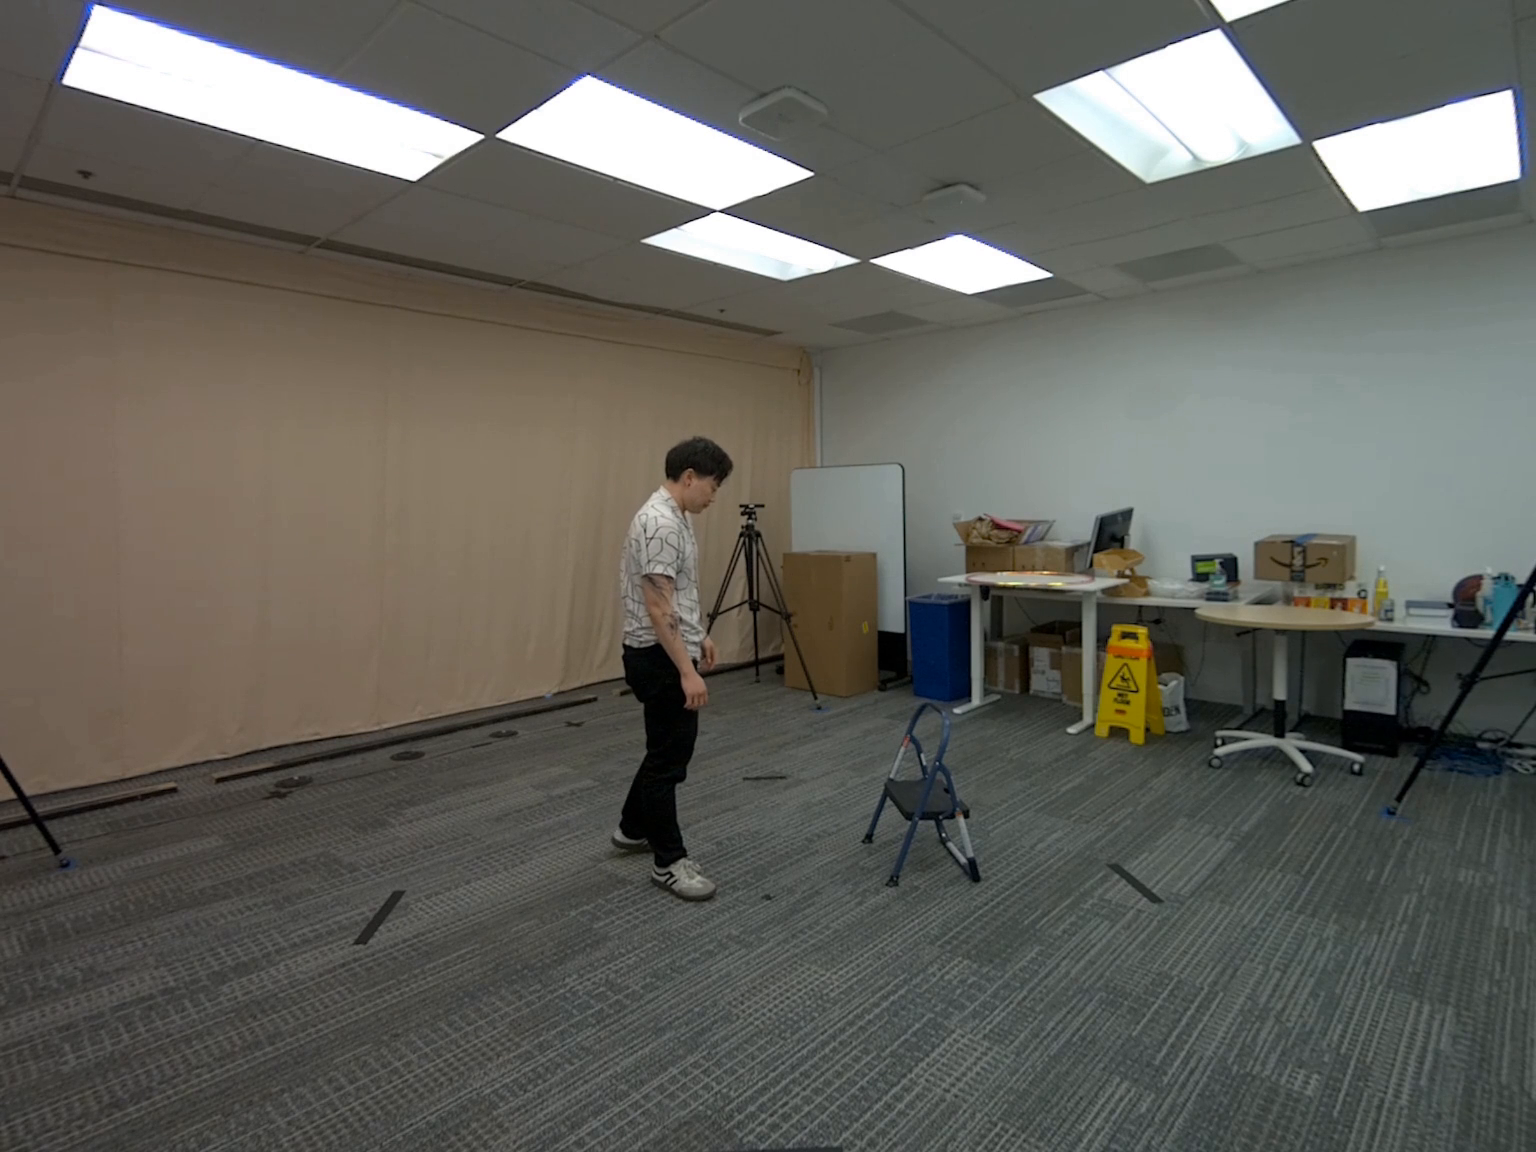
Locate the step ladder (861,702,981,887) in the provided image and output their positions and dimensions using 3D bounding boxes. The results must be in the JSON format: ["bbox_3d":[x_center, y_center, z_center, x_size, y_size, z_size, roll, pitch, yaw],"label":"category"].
[{"bbox_3d":[0.587,0.804,3.247,0.348,0.605,0.434,-2,4,-5],"label":"step ladder"}]
